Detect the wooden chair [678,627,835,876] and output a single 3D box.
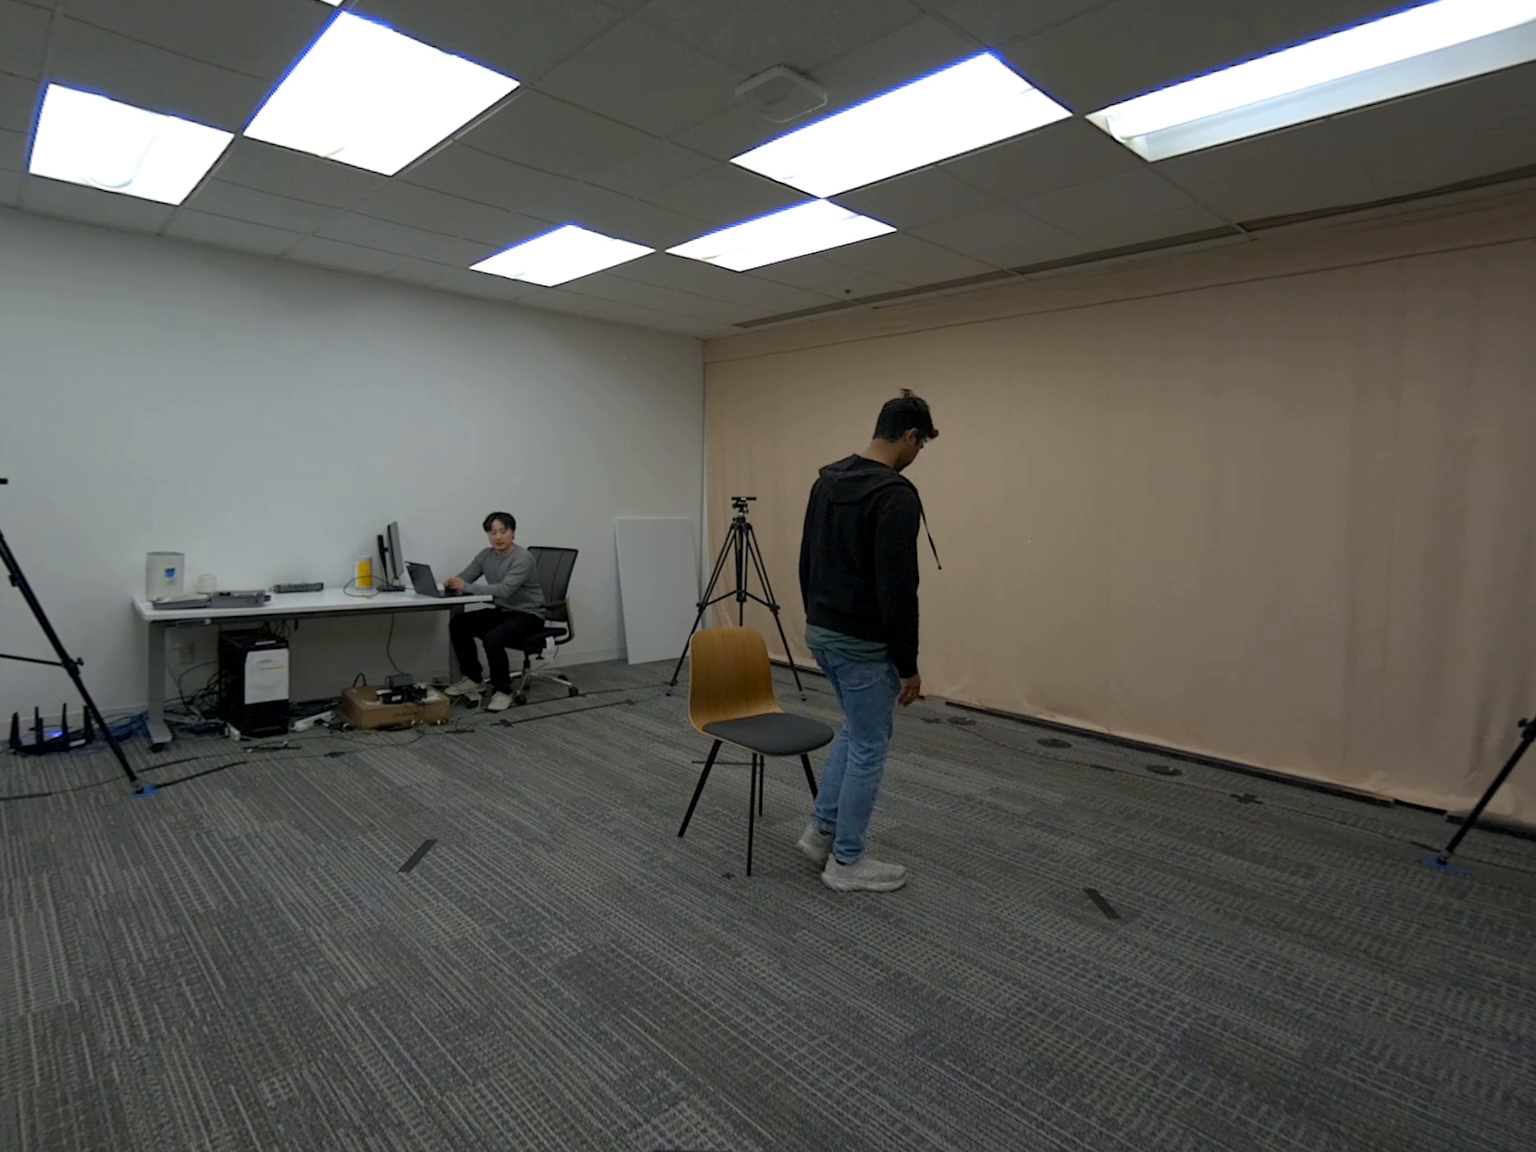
[{"bbox_3d":[-0.044,0.659,3.382,0.467,0.878,0.535,-1,0,-39],"label":"wooden chair"}]
